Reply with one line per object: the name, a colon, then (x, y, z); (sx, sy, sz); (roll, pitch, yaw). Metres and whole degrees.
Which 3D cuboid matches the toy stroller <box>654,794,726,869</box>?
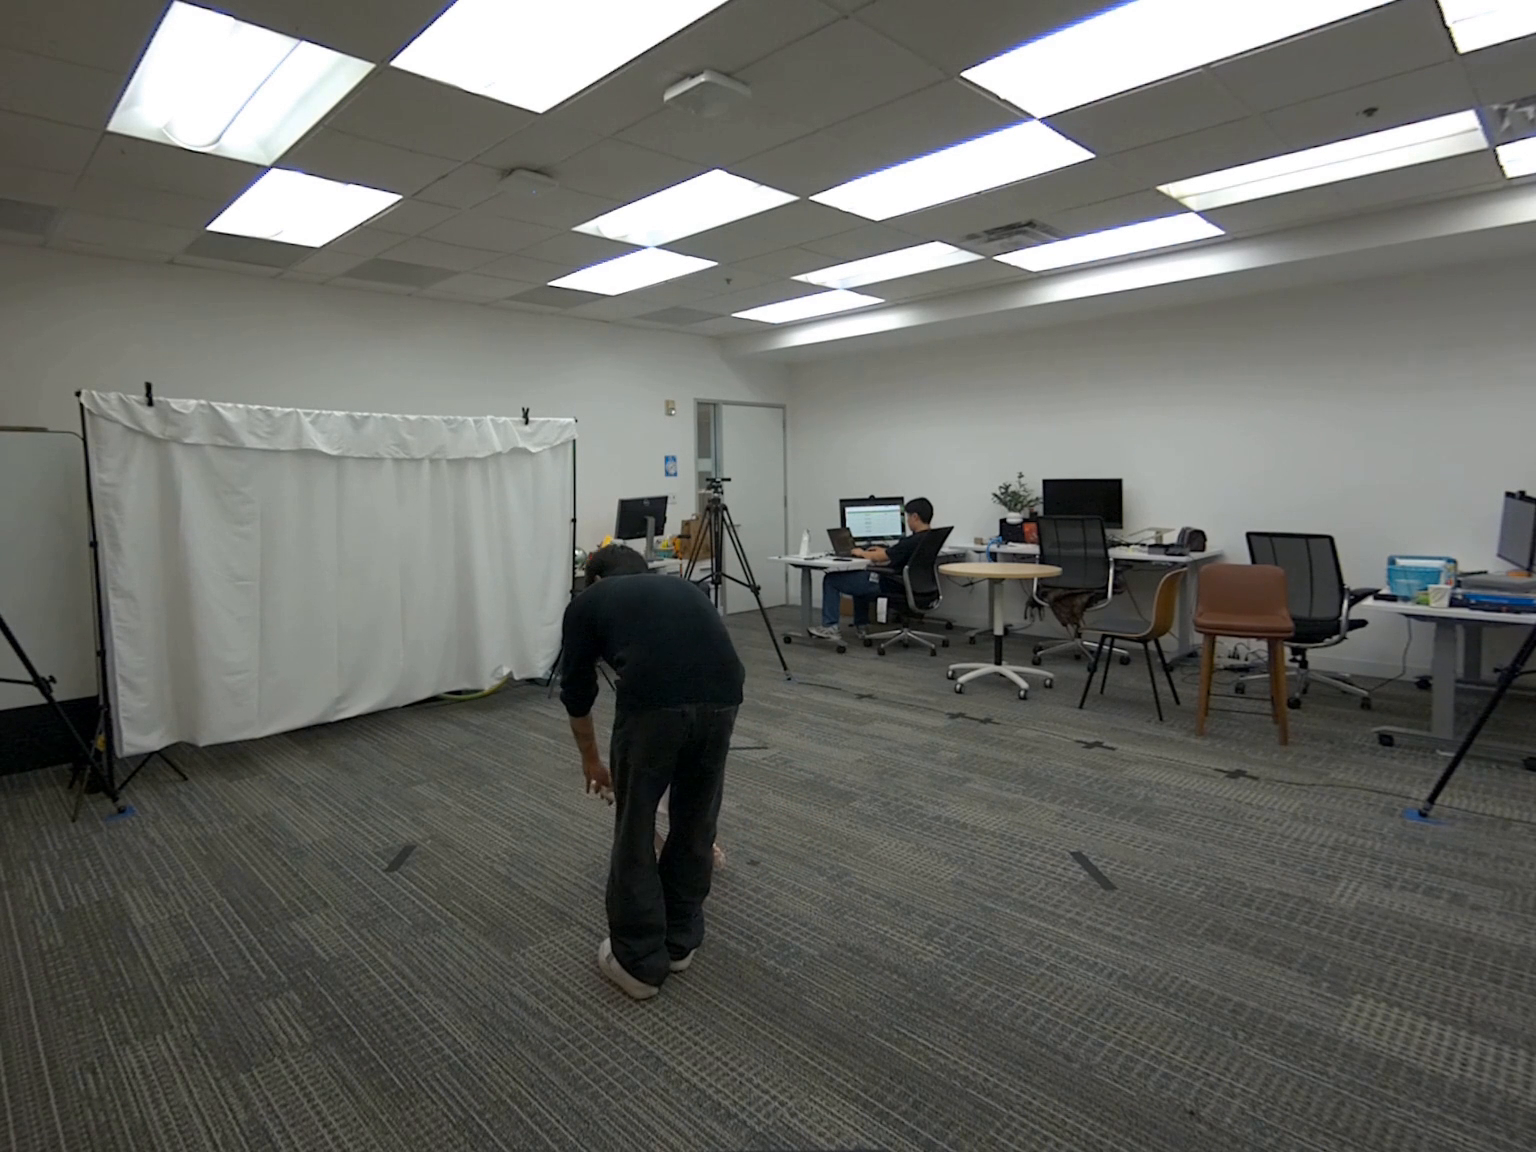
toy stroller: (-0.334, 0.847, 2.890); (0.337, 0.526, 0.290); (-26, 18, -30)
